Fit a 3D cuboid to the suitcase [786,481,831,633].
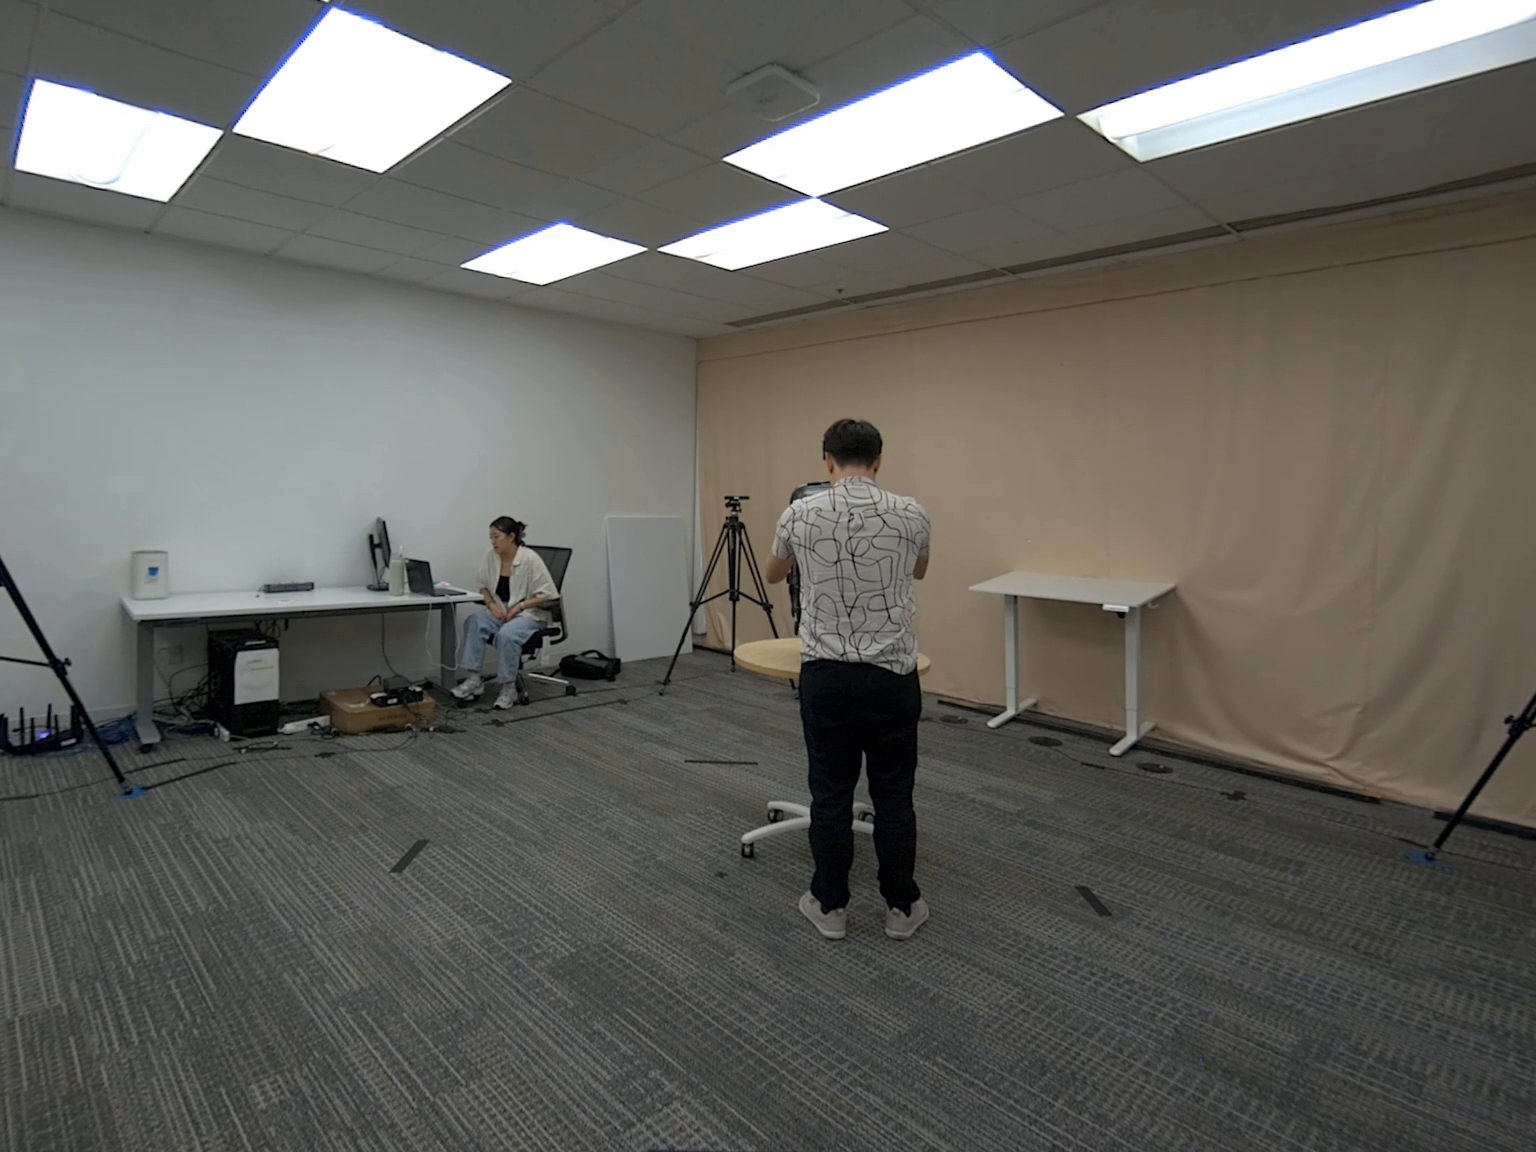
[{"bbox_3d":[0.265,-0.082,3.195,0.376,0.544,0.250,1,14,2],"label":"suitcase"}]
